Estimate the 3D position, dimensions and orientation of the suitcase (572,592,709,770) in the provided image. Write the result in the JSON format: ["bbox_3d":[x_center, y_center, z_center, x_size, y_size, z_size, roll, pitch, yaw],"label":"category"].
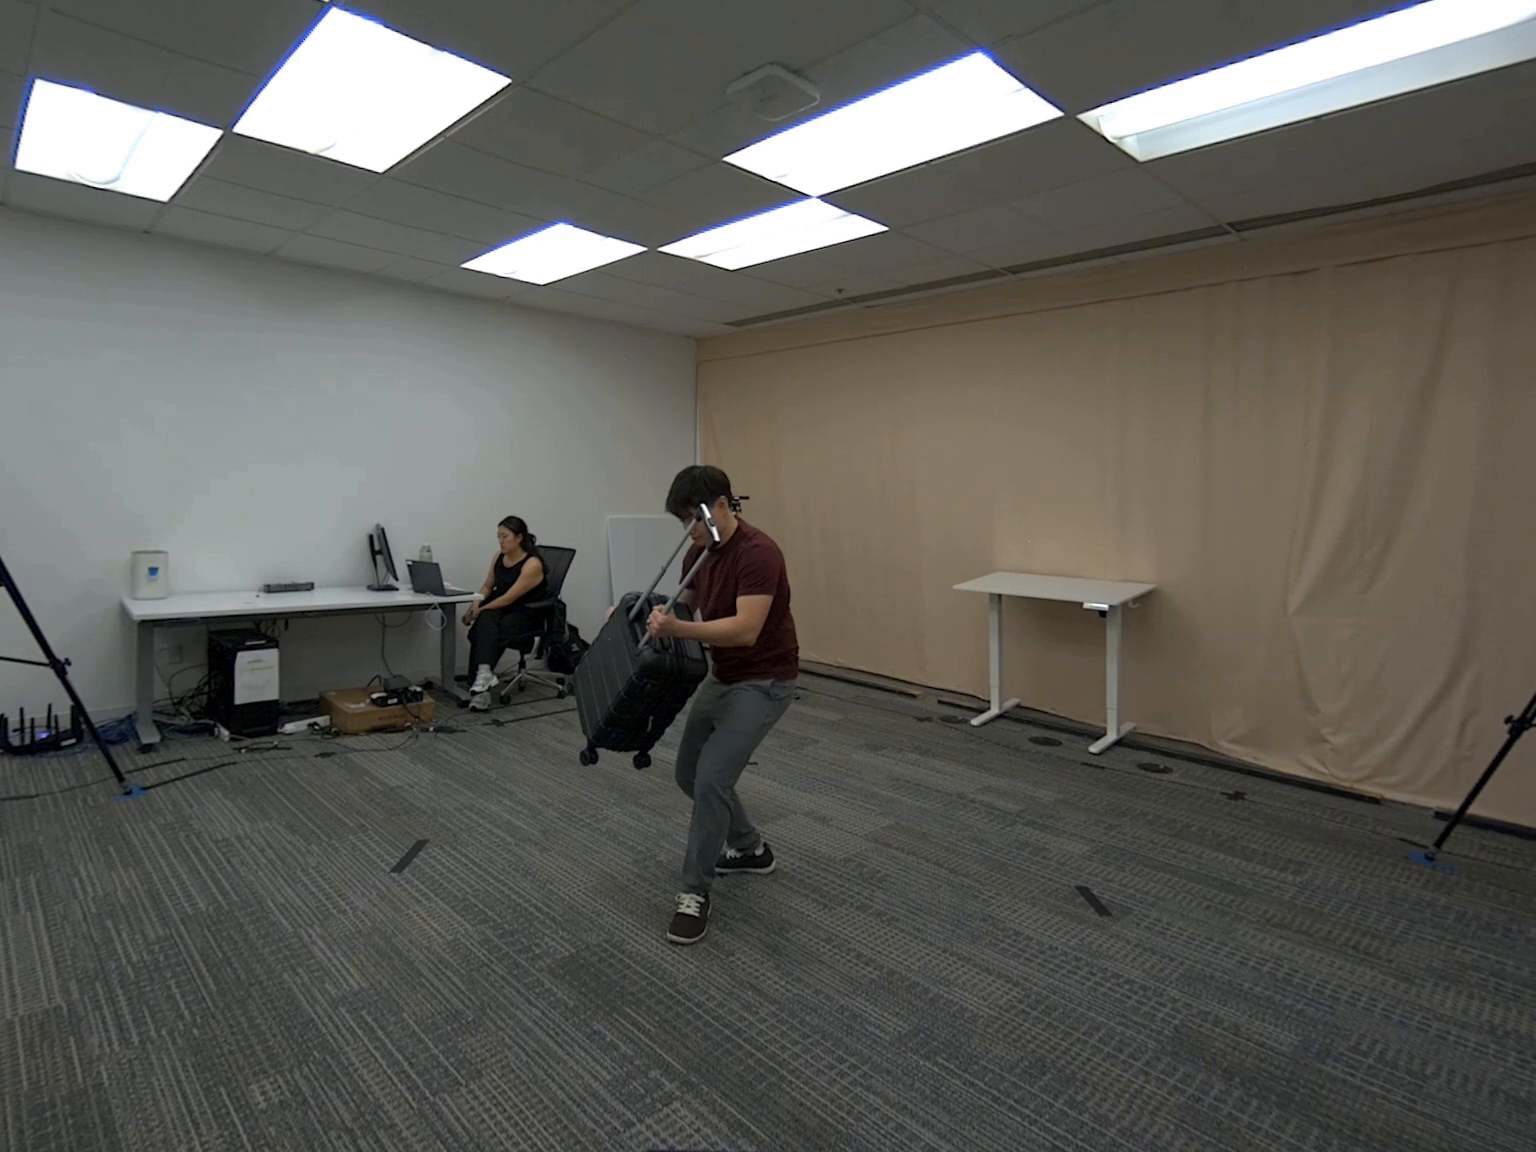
[{"bbox_3d":[-0.343,0.201,2.763,0.250,0.975,0.395,13,38,-35],"label":"suitcase"}]
